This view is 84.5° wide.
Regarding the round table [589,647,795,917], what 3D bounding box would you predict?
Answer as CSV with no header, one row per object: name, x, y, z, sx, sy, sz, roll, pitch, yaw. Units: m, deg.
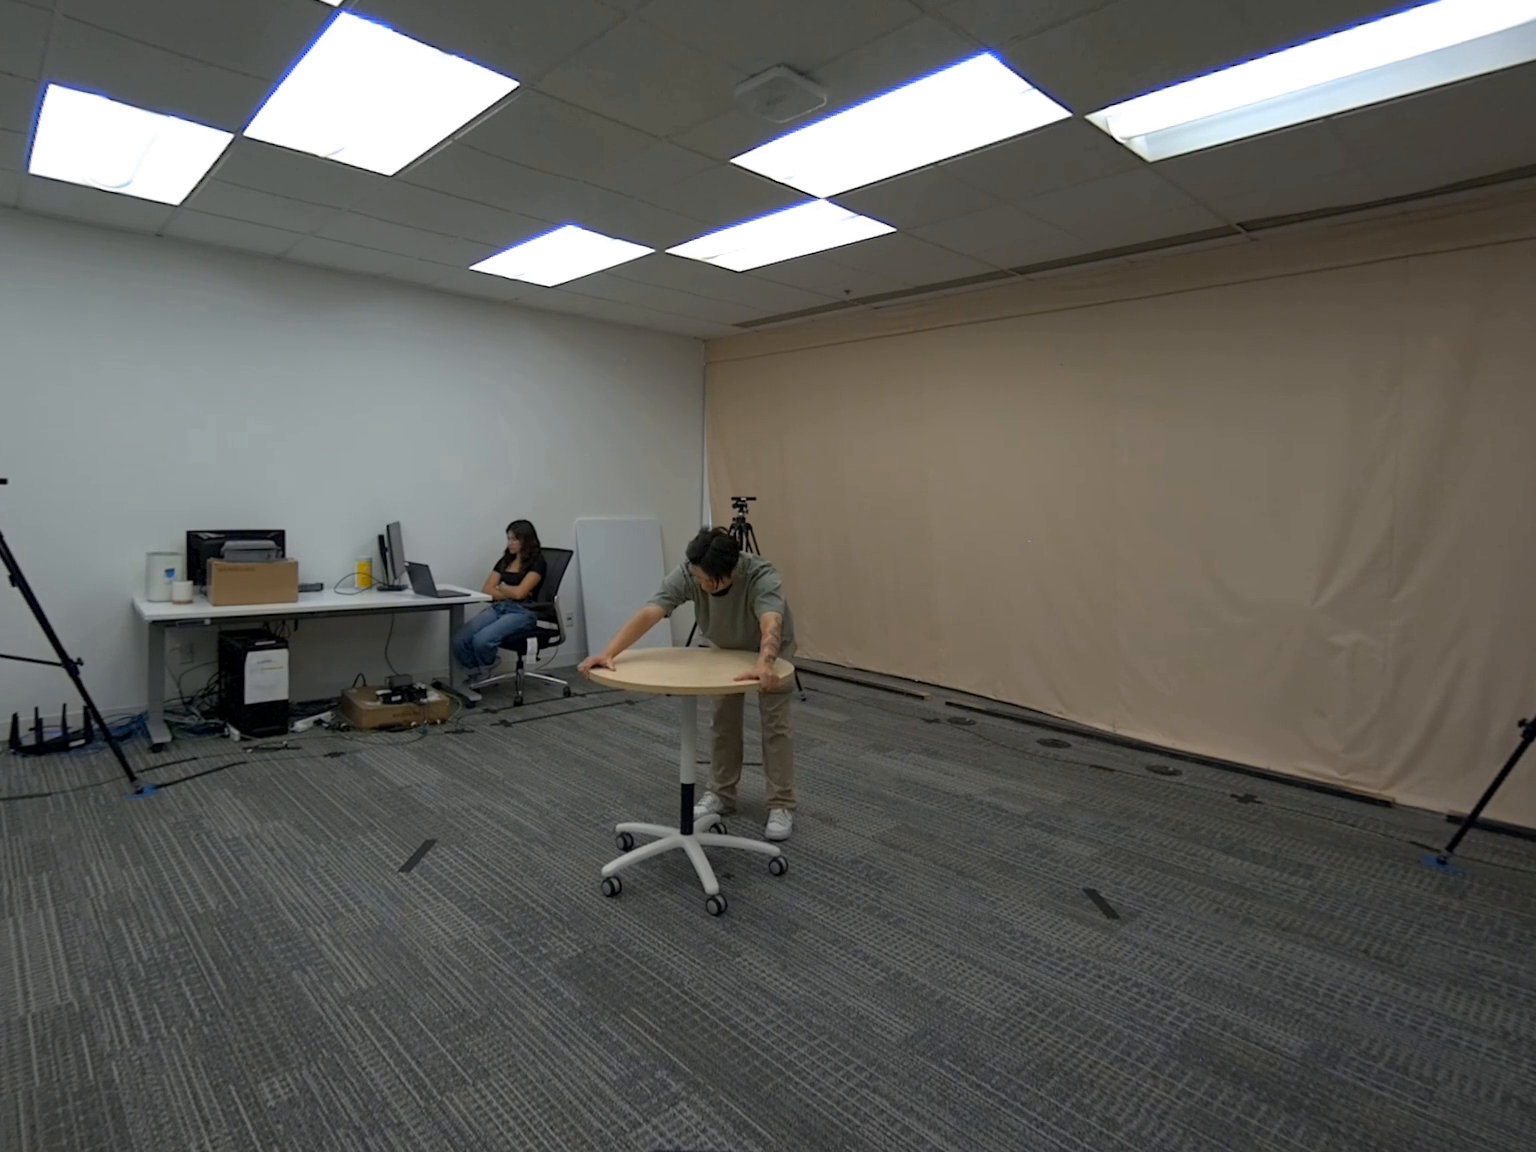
round table,-0.287,0.714,3.114,0.784,0.785,0.787,1,3,-1
